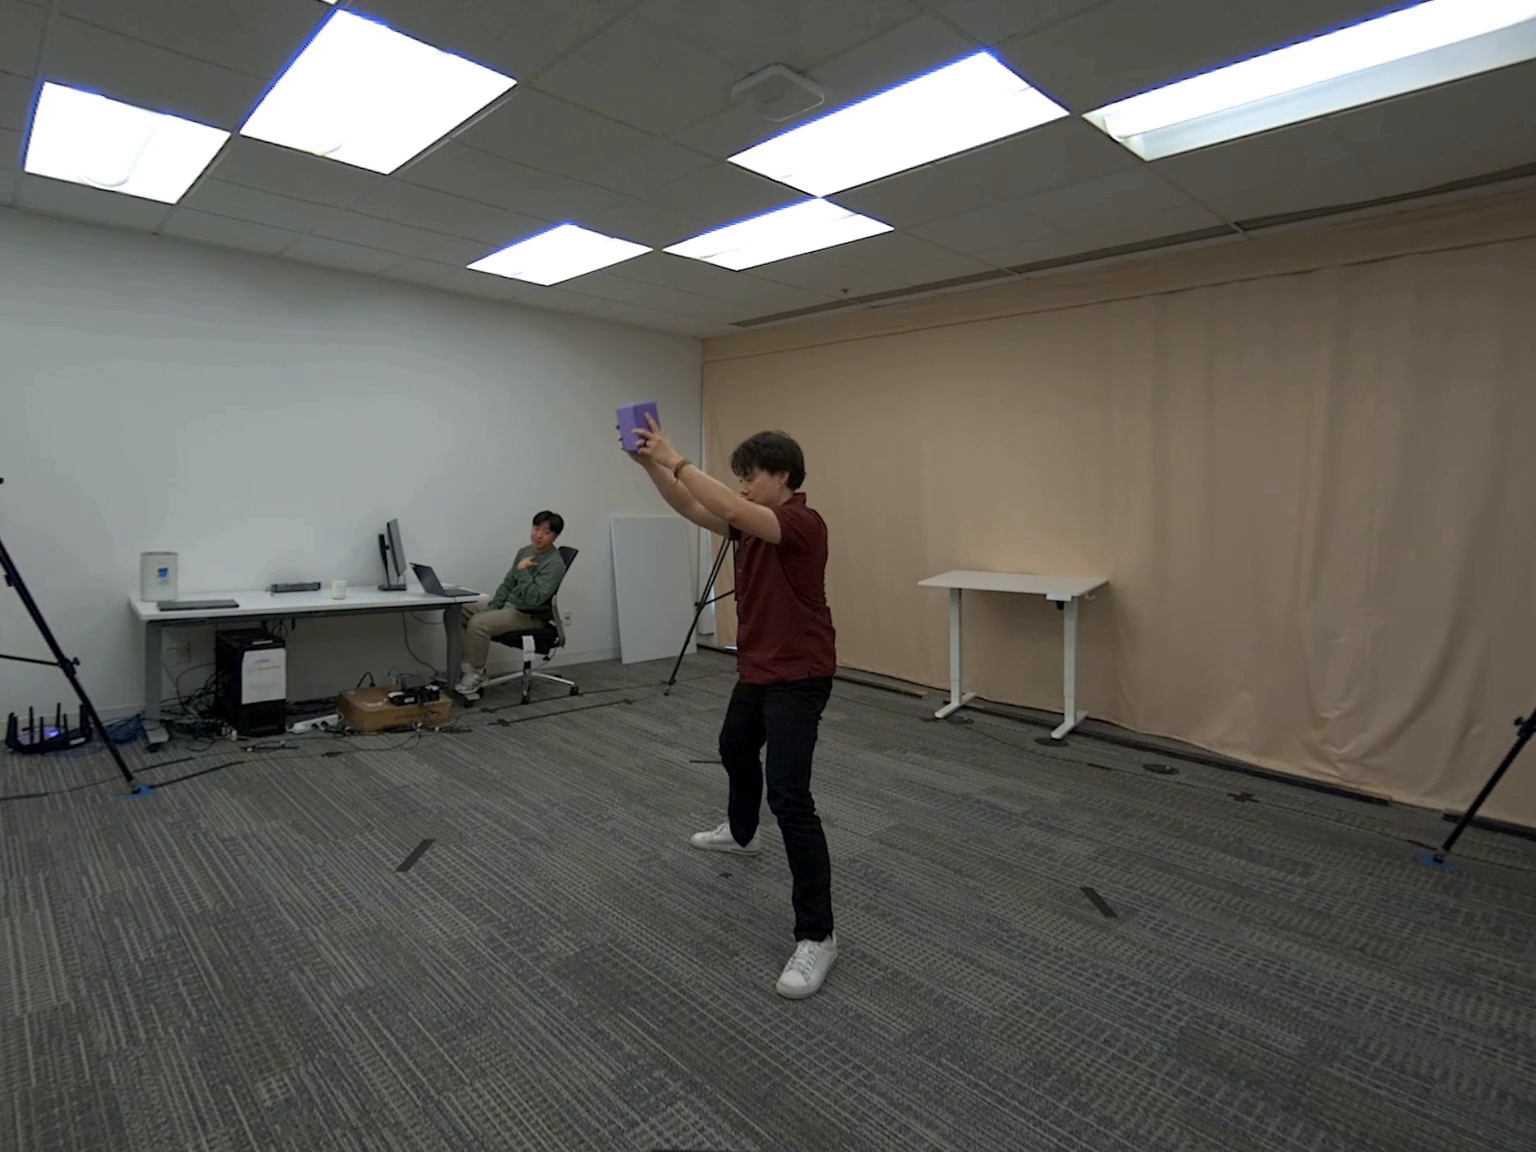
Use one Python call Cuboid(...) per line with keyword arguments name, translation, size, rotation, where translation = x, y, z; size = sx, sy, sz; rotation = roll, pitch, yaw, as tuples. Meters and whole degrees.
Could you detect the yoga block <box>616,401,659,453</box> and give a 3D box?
Cuboid(name="yoga block", translation=(-0.410, -0.468, 2.669), size=(0.075, 0.147, 0.234), rotation=(-13, 13, -21))
